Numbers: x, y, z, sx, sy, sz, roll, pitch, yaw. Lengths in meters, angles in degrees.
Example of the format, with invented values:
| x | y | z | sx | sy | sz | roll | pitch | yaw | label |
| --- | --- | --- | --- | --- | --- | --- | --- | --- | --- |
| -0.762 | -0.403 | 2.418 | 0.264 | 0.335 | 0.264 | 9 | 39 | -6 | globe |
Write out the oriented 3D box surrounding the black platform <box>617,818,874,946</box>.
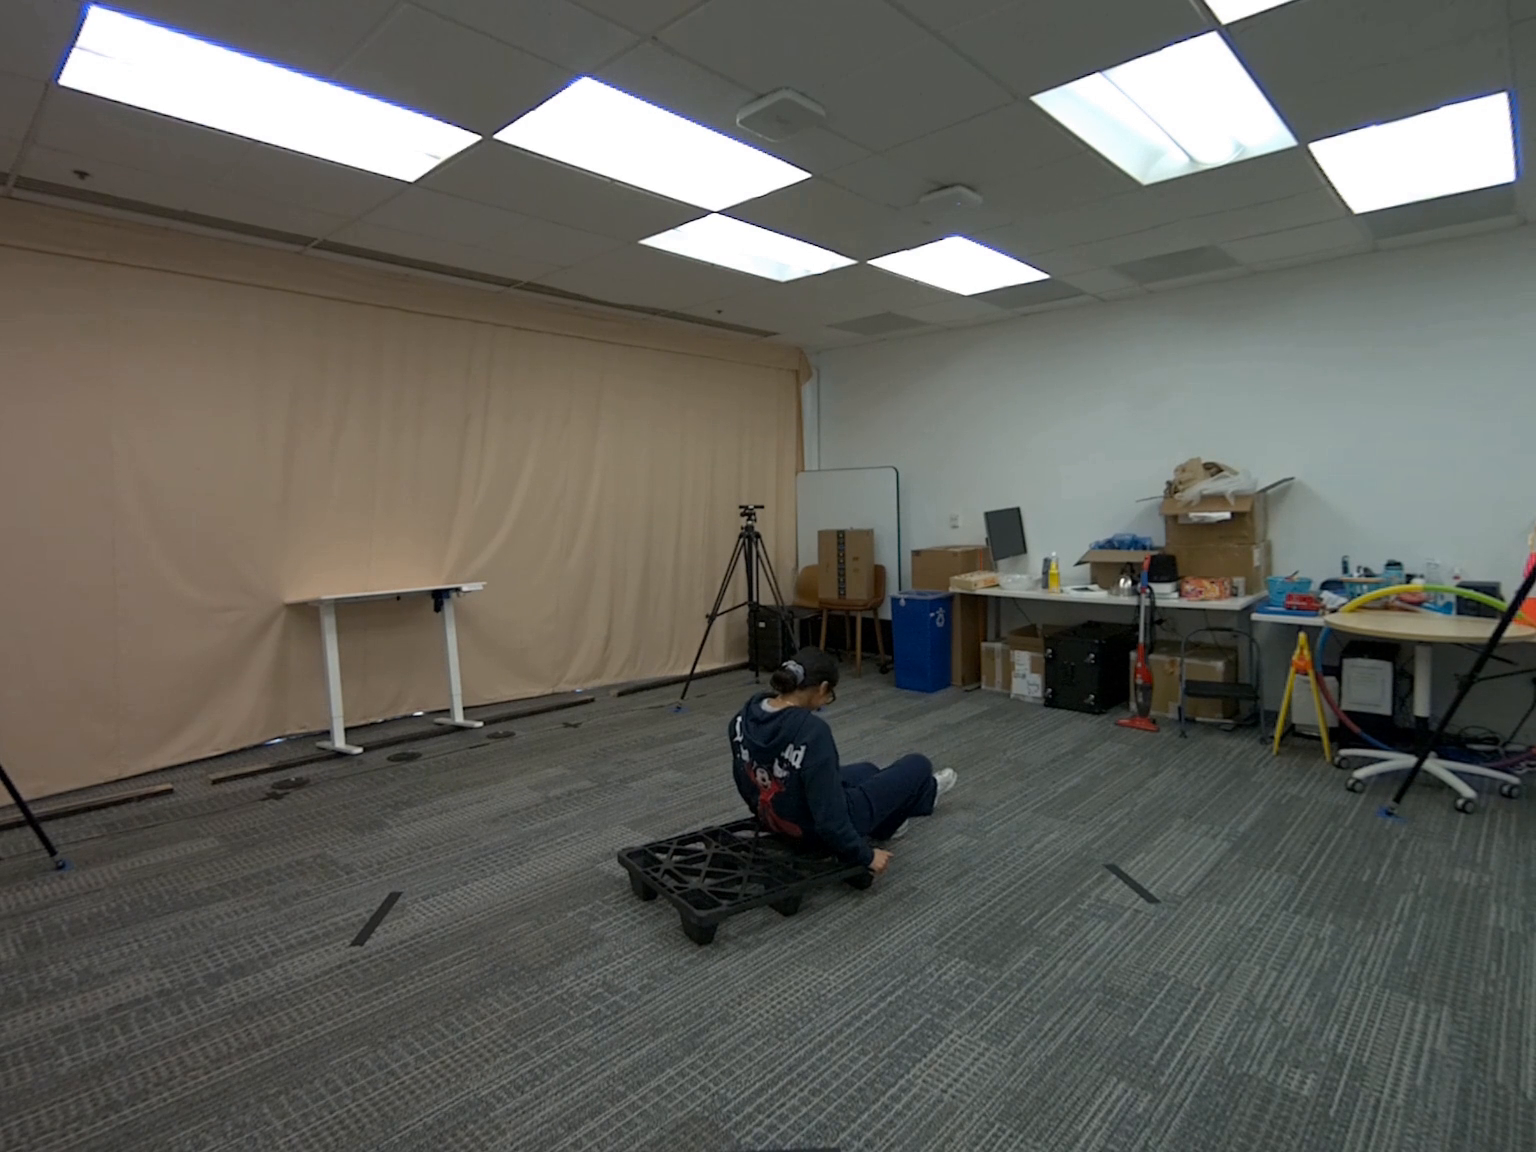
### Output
| x | y | z | sx | sy | sz | roll | pitch | yaw | label |
| --- | --- | --- | --- | --- | --- | --- | --- | --- | --- |
| -0.065 | 1.073 | 3.045 | 0.783 | 0.143 | 0.623 | -3 | 5 | -33 | black platform |
